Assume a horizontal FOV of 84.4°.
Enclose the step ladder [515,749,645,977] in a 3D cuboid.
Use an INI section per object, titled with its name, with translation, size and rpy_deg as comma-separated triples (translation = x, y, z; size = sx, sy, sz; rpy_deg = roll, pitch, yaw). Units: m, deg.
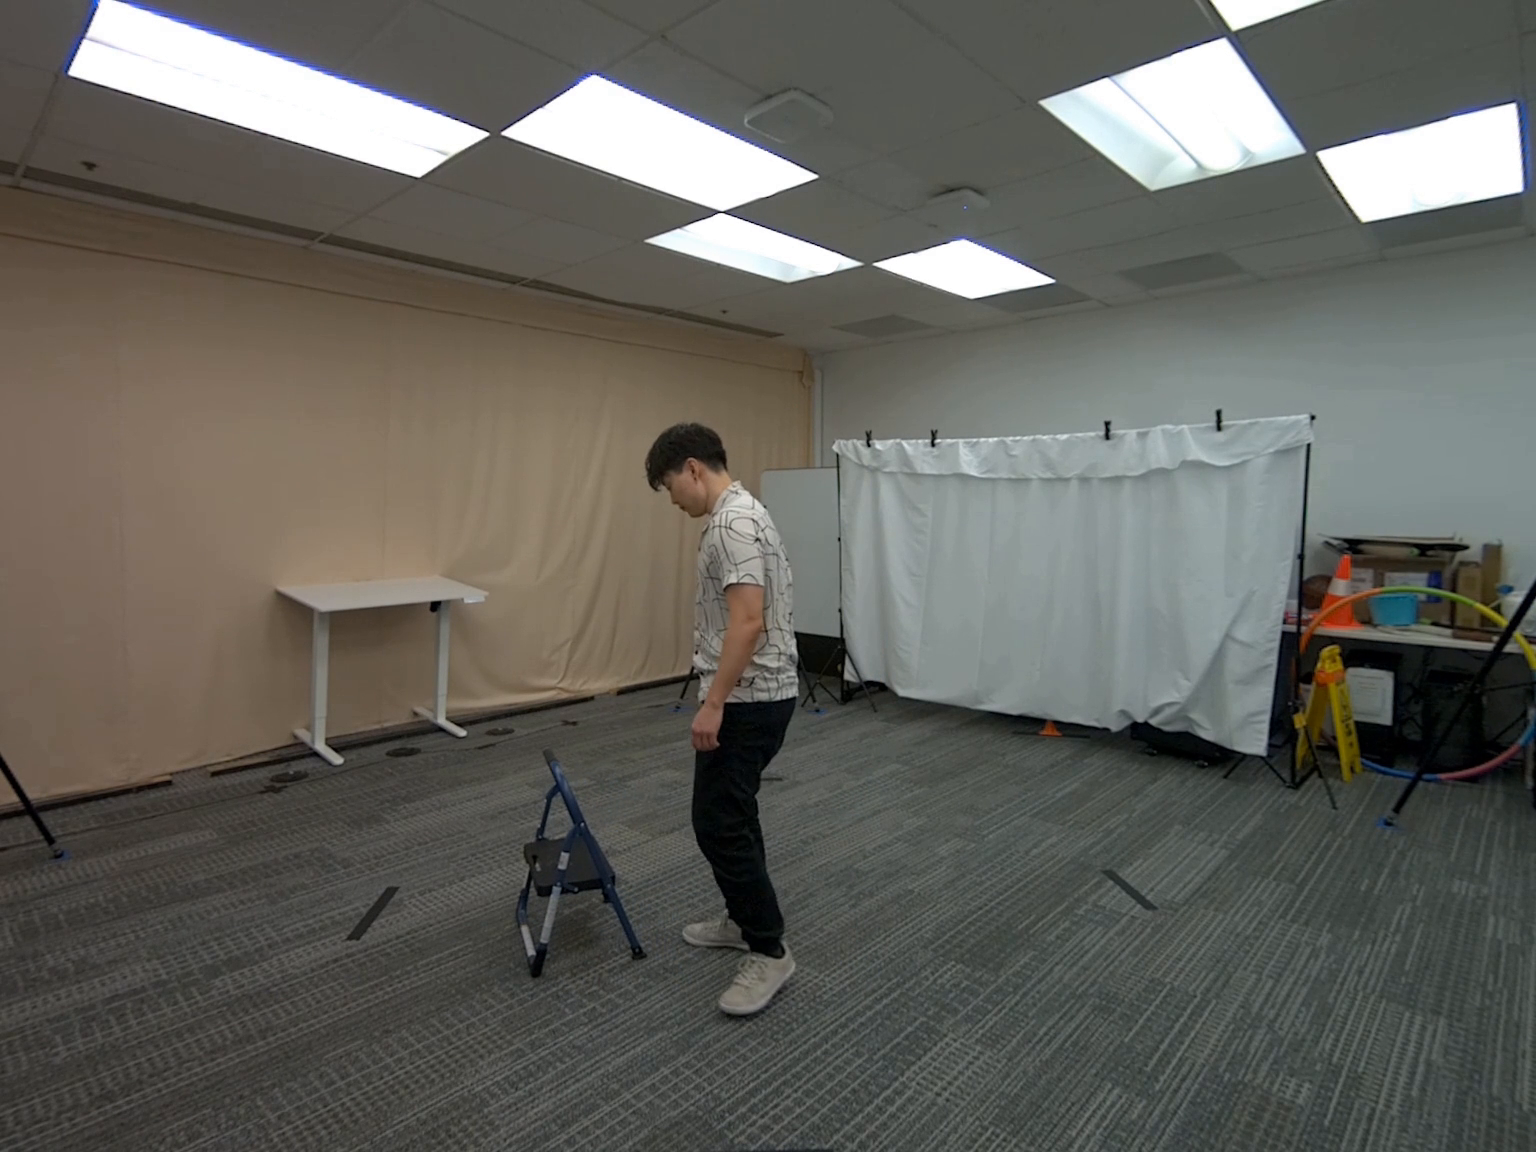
[step ladder]
translation = -0.625, 0.870, 2.722
size = 0.341, 0.605, 0.441
rpy_deg = -2, 4, -23
